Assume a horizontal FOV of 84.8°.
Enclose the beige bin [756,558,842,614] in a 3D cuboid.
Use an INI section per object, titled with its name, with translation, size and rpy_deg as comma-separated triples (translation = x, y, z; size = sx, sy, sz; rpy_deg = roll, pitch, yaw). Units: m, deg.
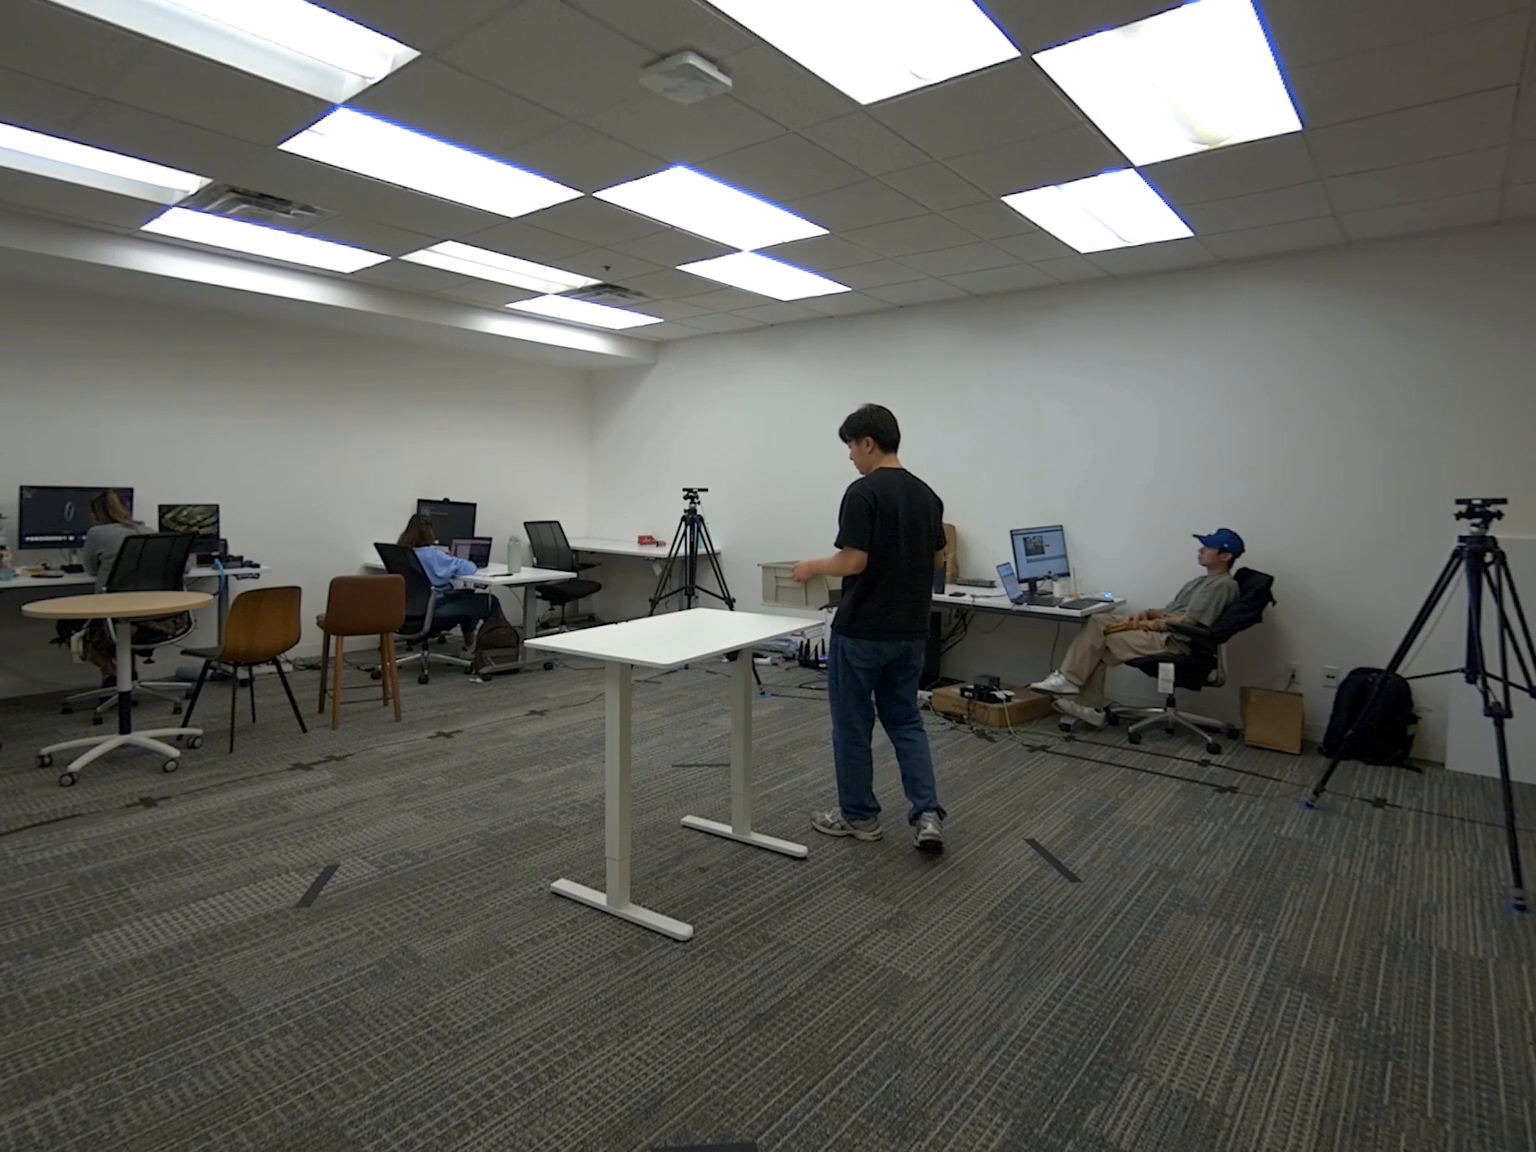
[beige bin]
translation = 0.230, 0.031, 3.680
size = 0.390, 0.188, 0.410
rpy_deg = 3, 5, 42
